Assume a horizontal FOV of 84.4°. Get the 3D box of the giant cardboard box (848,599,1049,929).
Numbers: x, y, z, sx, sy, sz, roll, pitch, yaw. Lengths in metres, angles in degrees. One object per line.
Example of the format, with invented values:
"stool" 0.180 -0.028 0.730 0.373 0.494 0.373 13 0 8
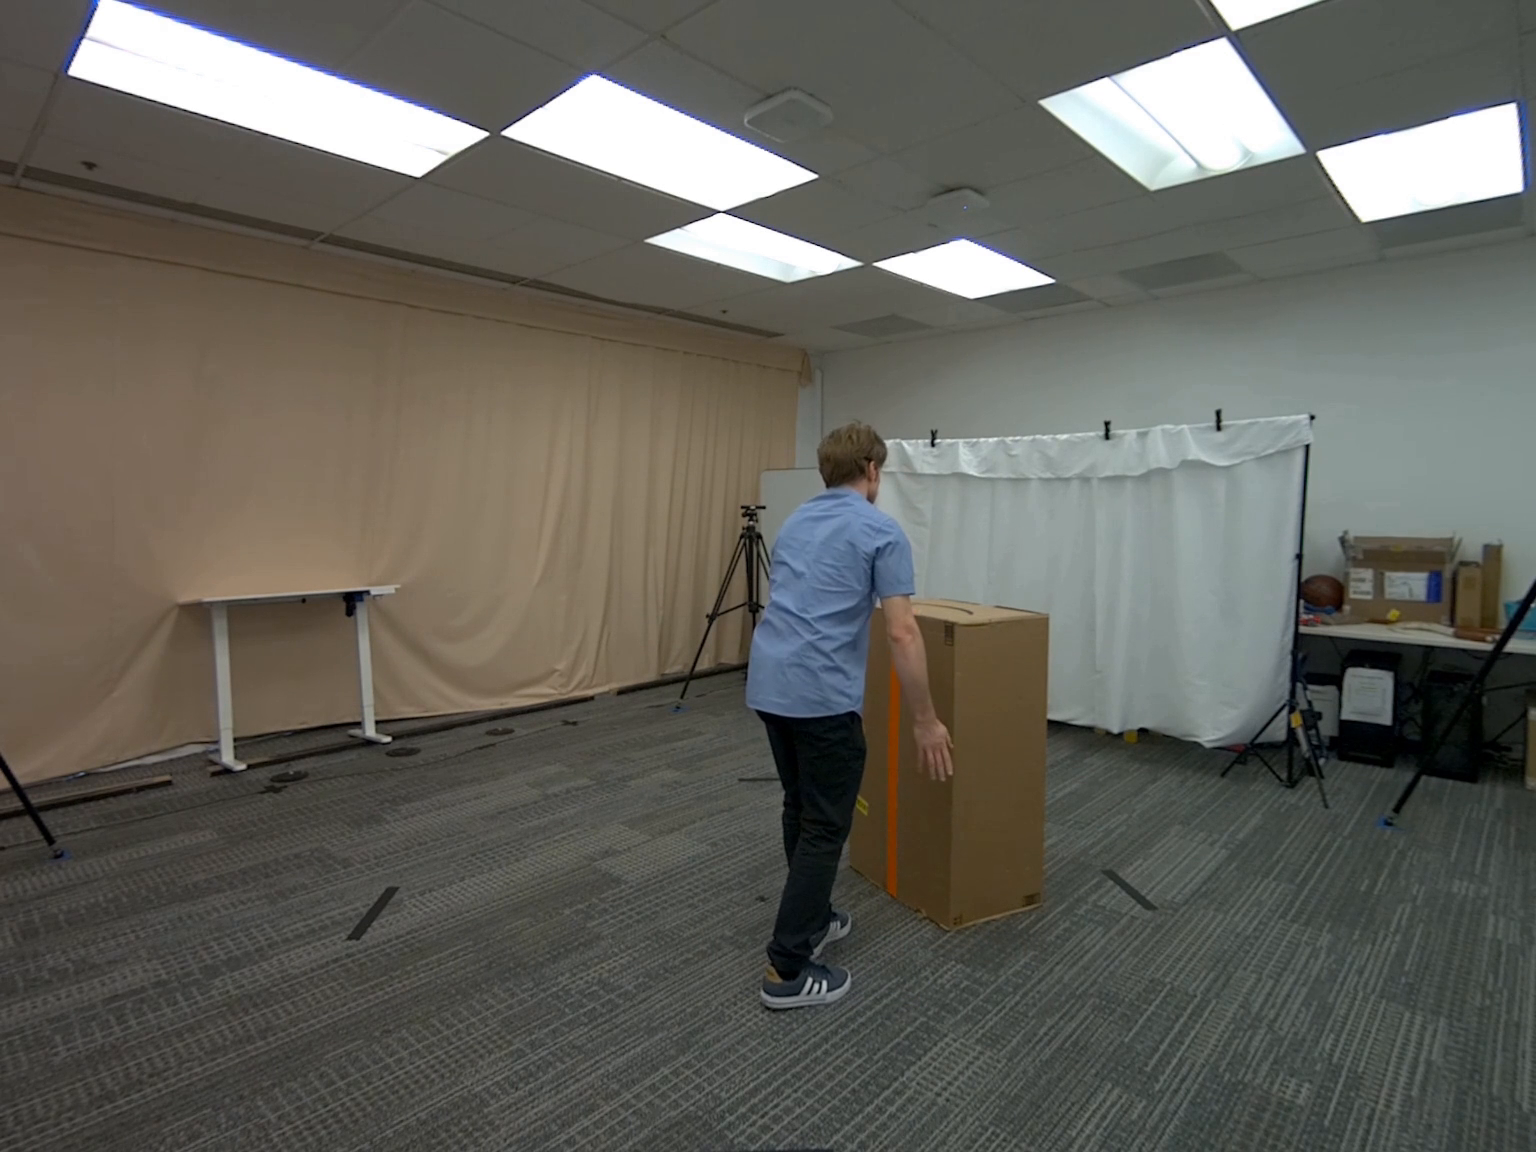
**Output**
"giant cardboard box" 0.640 0.625 3.063 0.415 1.024 0.594 -1 4 -29
